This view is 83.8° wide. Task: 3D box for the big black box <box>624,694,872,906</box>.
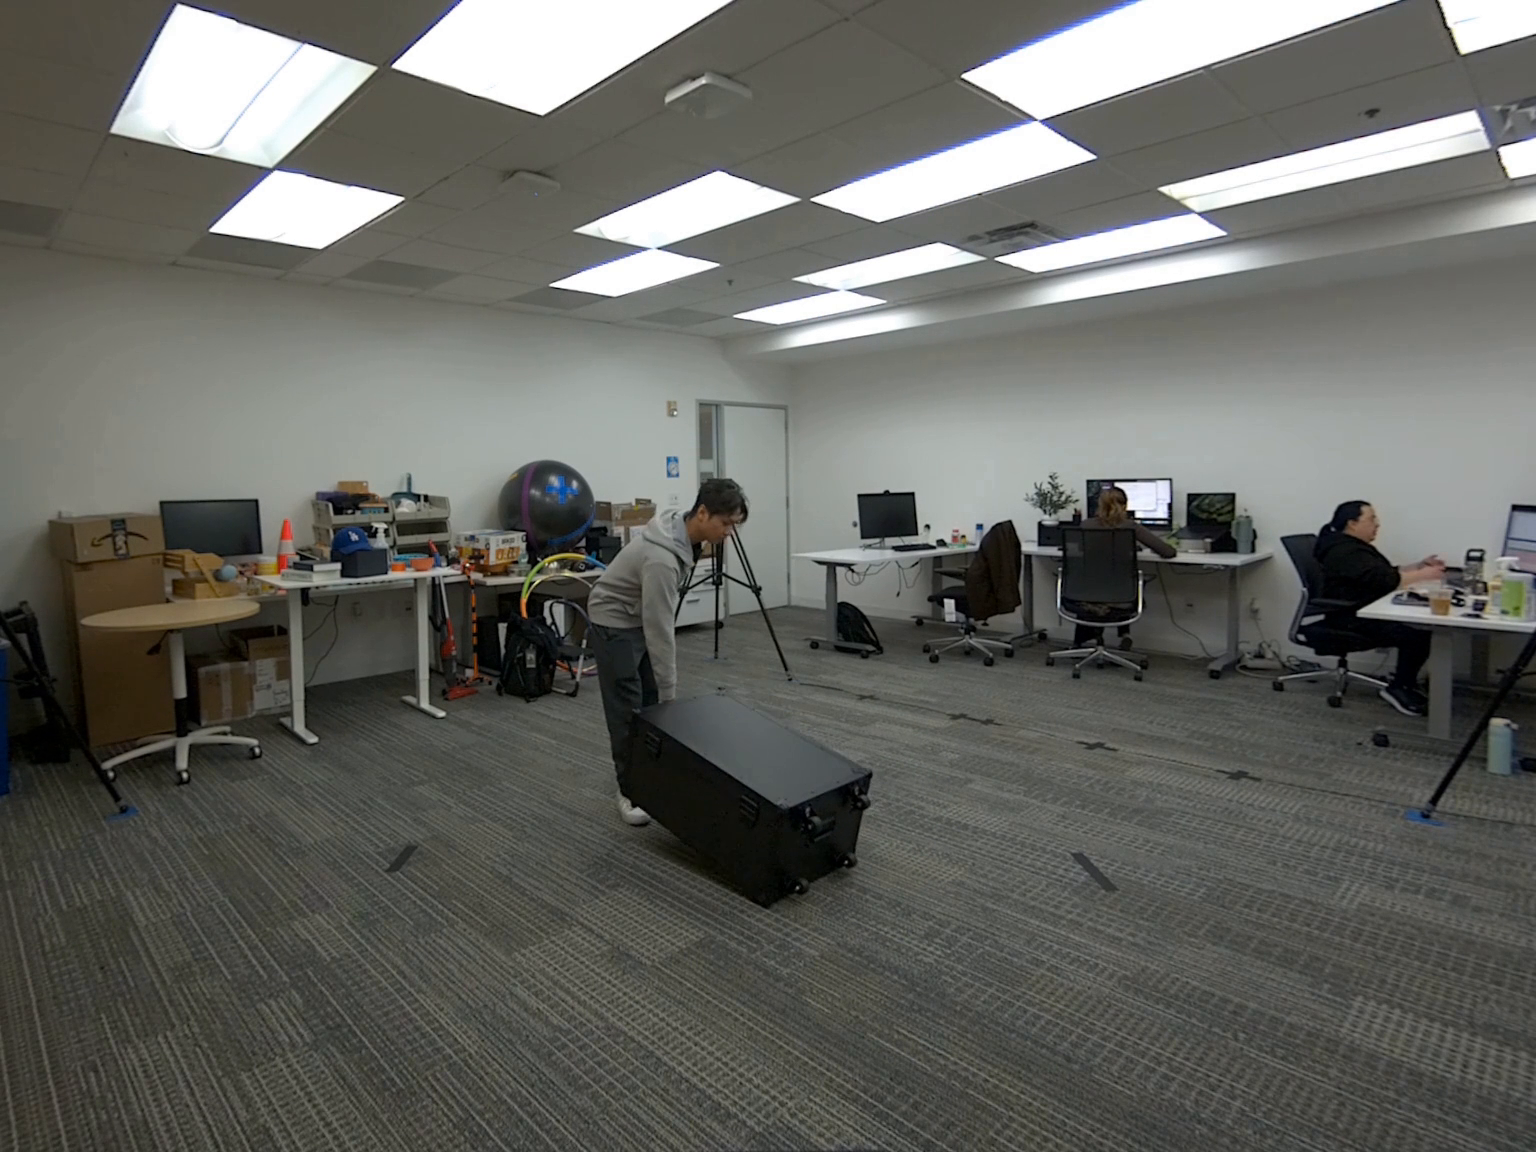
[{"bbox_3d":[-0.081,0.788,3.146,0.893,0.392,0.507,21,19,41],"label":"big black box"}]
